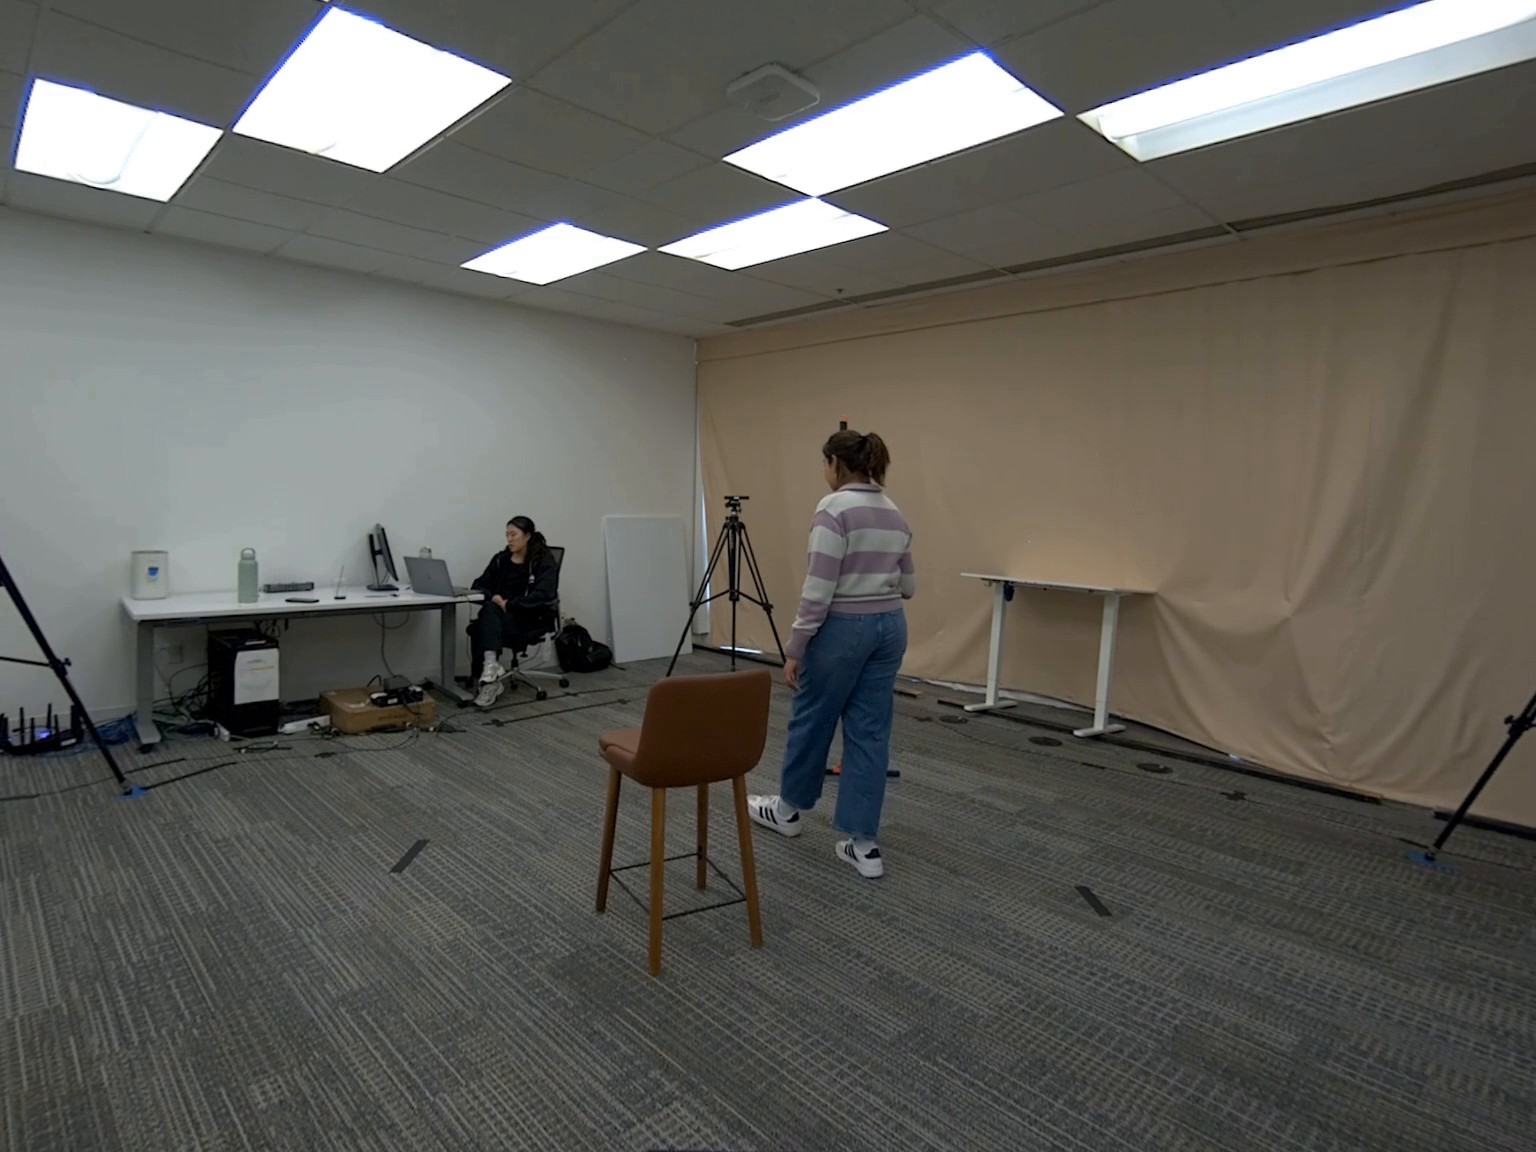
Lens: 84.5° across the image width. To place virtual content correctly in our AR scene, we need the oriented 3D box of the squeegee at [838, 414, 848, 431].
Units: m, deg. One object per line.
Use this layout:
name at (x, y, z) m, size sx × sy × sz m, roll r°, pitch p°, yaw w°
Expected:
squeegee at (0.327, 0.119, 3.559) m, size 0.441 × 1.534 × 0.052 m, roll 0°, pitch 3°, yaw 11°
